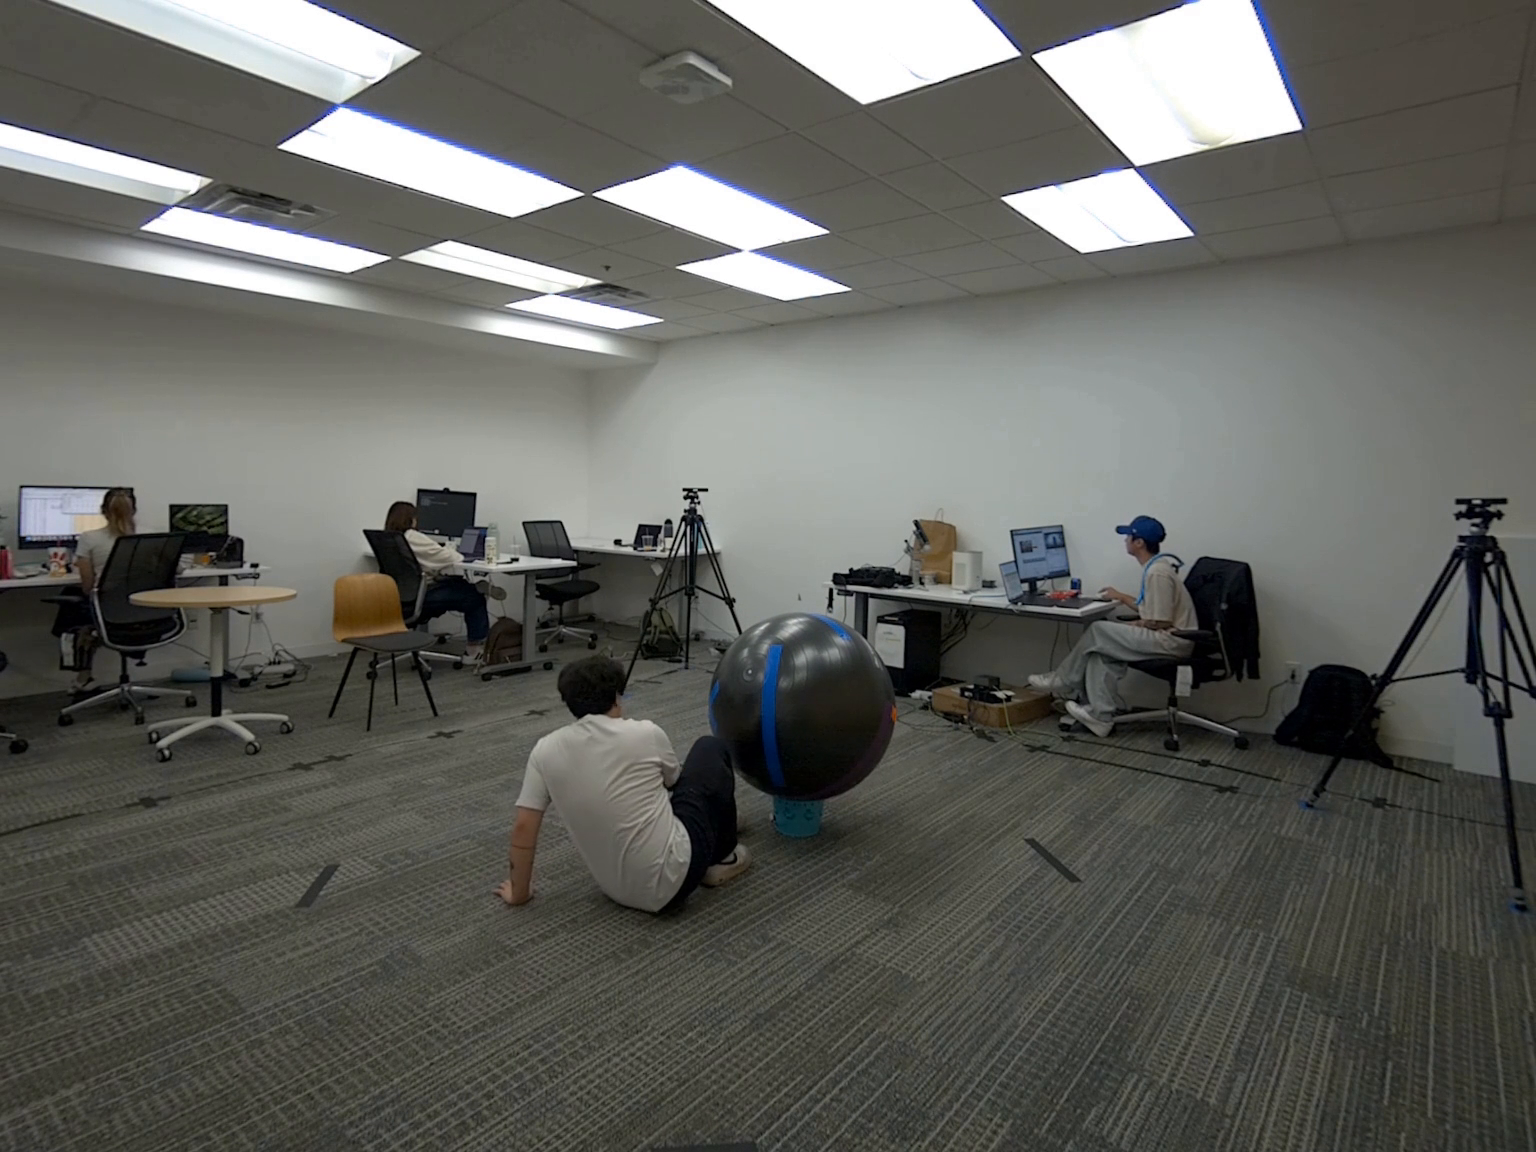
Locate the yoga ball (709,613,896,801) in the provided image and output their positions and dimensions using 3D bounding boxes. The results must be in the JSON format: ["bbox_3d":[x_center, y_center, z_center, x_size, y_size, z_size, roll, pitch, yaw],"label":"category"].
[{"bbox_3d":[0.132,0.528,3.484,0.757,0.755,0.762,1,4,-2],"label":"yoga ball"}]
